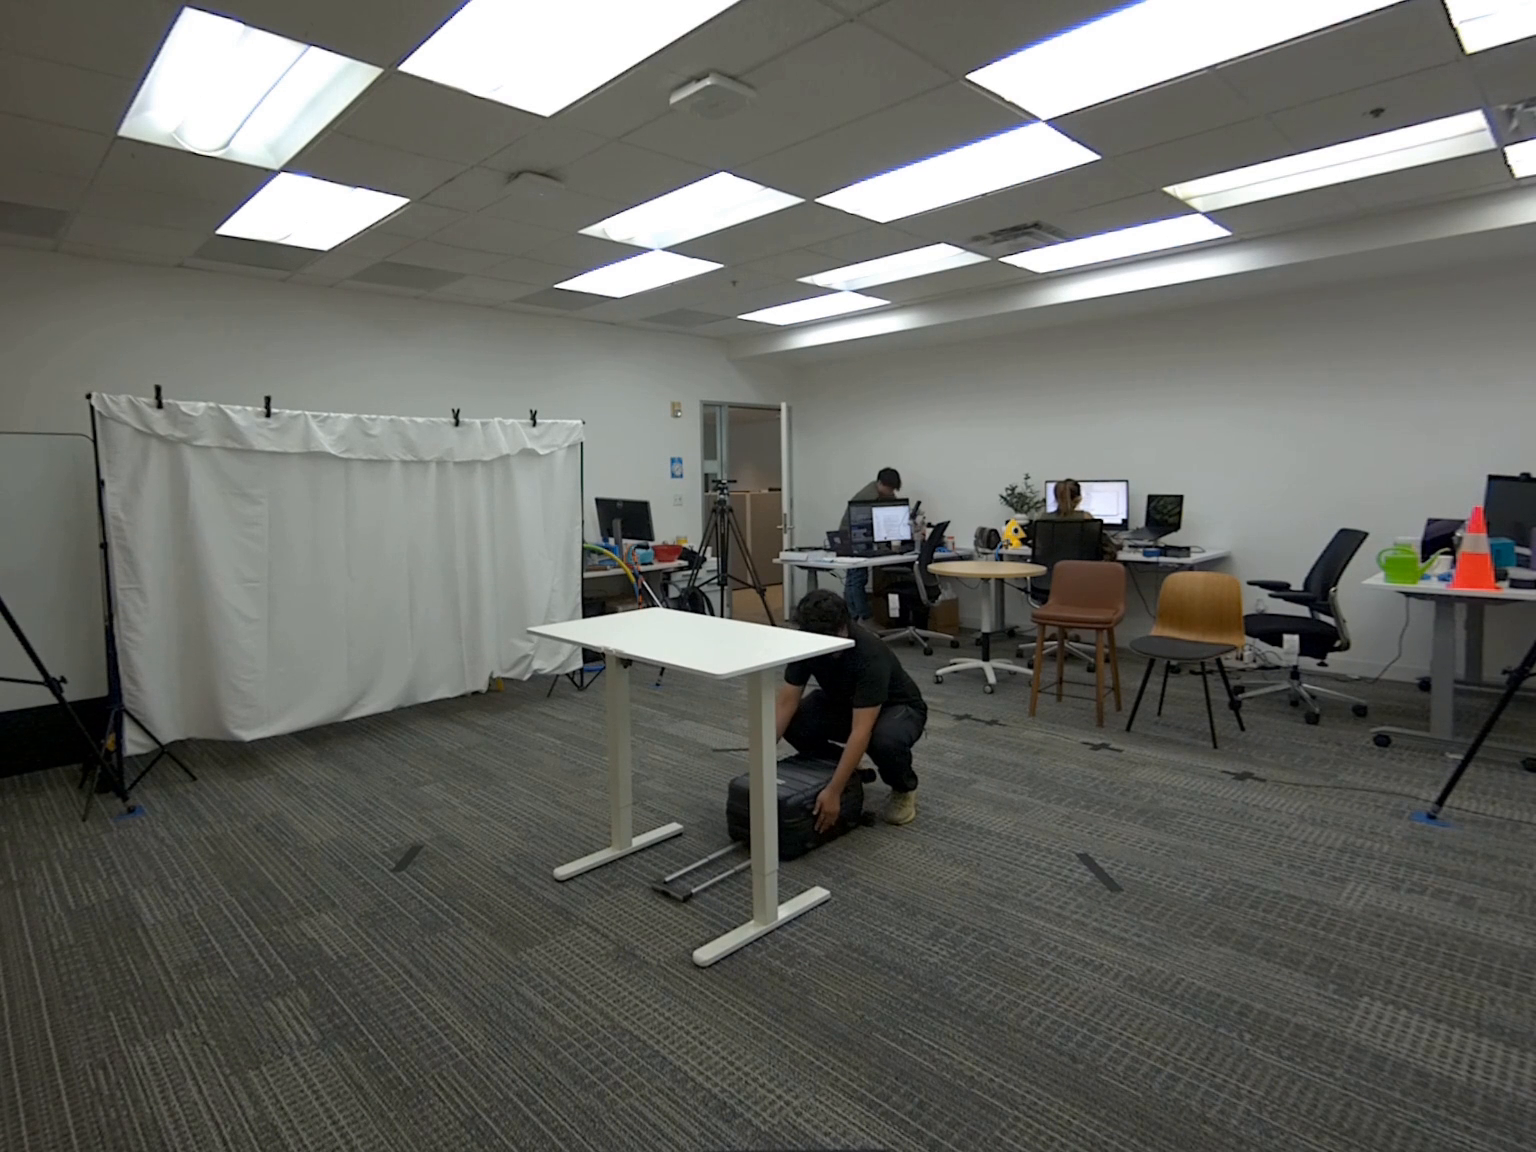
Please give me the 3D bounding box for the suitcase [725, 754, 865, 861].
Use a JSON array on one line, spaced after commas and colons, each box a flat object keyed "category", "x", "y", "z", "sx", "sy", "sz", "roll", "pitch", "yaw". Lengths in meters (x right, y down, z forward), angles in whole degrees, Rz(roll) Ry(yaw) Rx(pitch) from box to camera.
[{"category": "suitcase", "x": -0.023, "y": 0.908, "z": 3.222, "sx": 0.396, "sy": 0.256, "sz": 0.952, "roll": 8, "pitch": 9, "yaw": 42}]
